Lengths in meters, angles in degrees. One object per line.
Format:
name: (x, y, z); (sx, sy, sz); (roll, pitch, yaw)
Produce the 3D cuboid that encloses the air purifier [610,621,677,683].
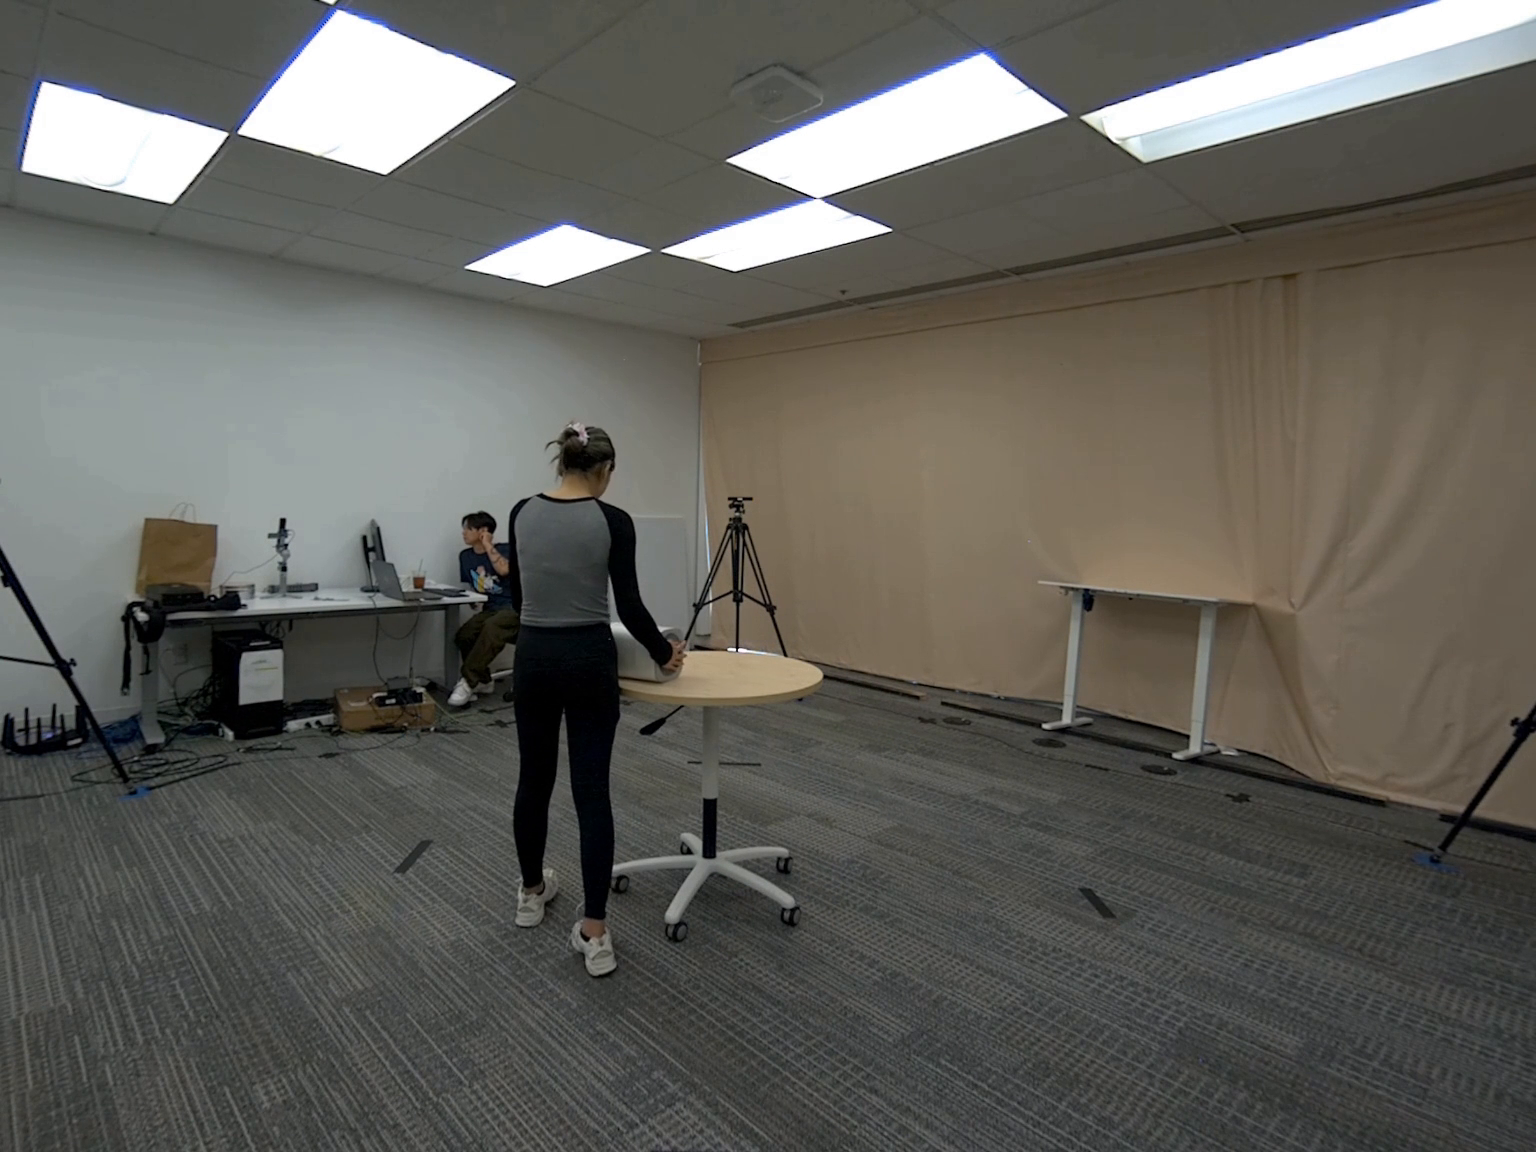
air purifier: (-0.438, 0.251, 2.805); (0.271, 0.171, 0.168); (3, 6, 27)
